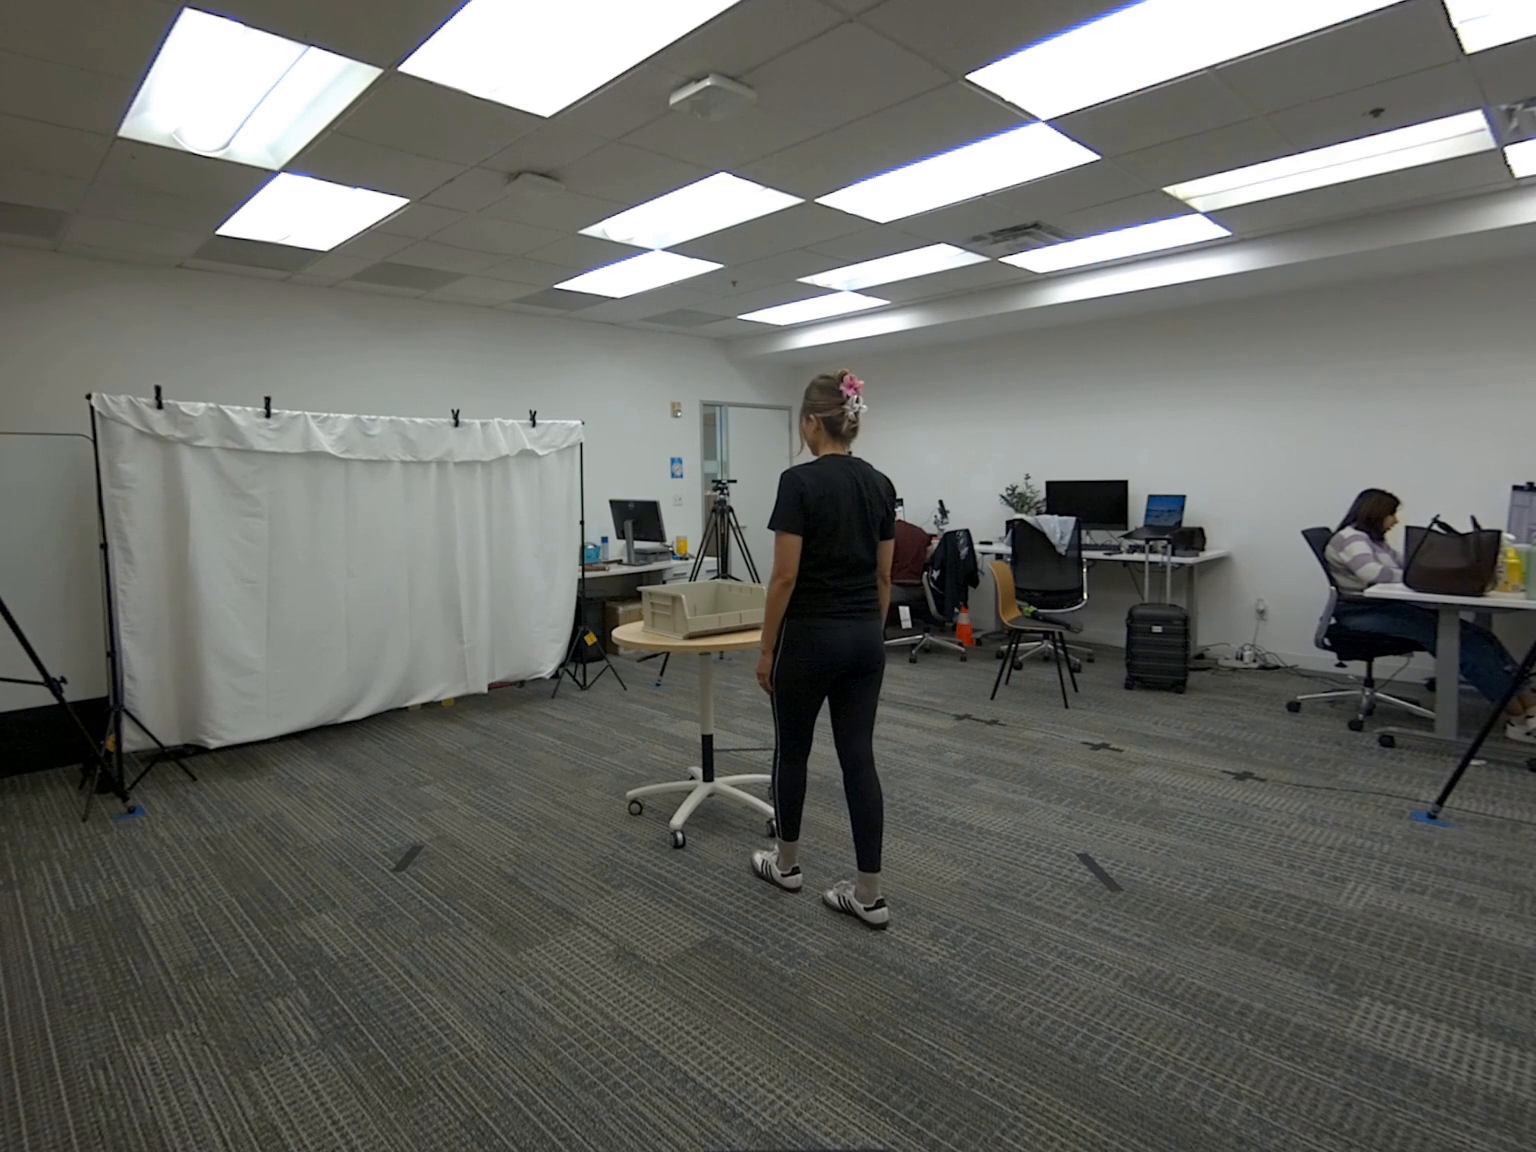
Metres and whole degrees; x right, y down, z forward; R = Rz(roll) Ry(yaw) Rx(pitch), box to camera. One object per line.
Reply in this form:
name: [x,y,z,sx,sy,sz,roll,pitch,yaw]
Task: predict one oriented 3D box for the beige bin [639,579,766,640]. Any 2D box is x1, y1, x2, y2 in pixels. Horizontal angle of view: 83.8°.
beige bin: [-0.262,0.136,3.521,0.412,0.188,0.388,-6,6,-37]
